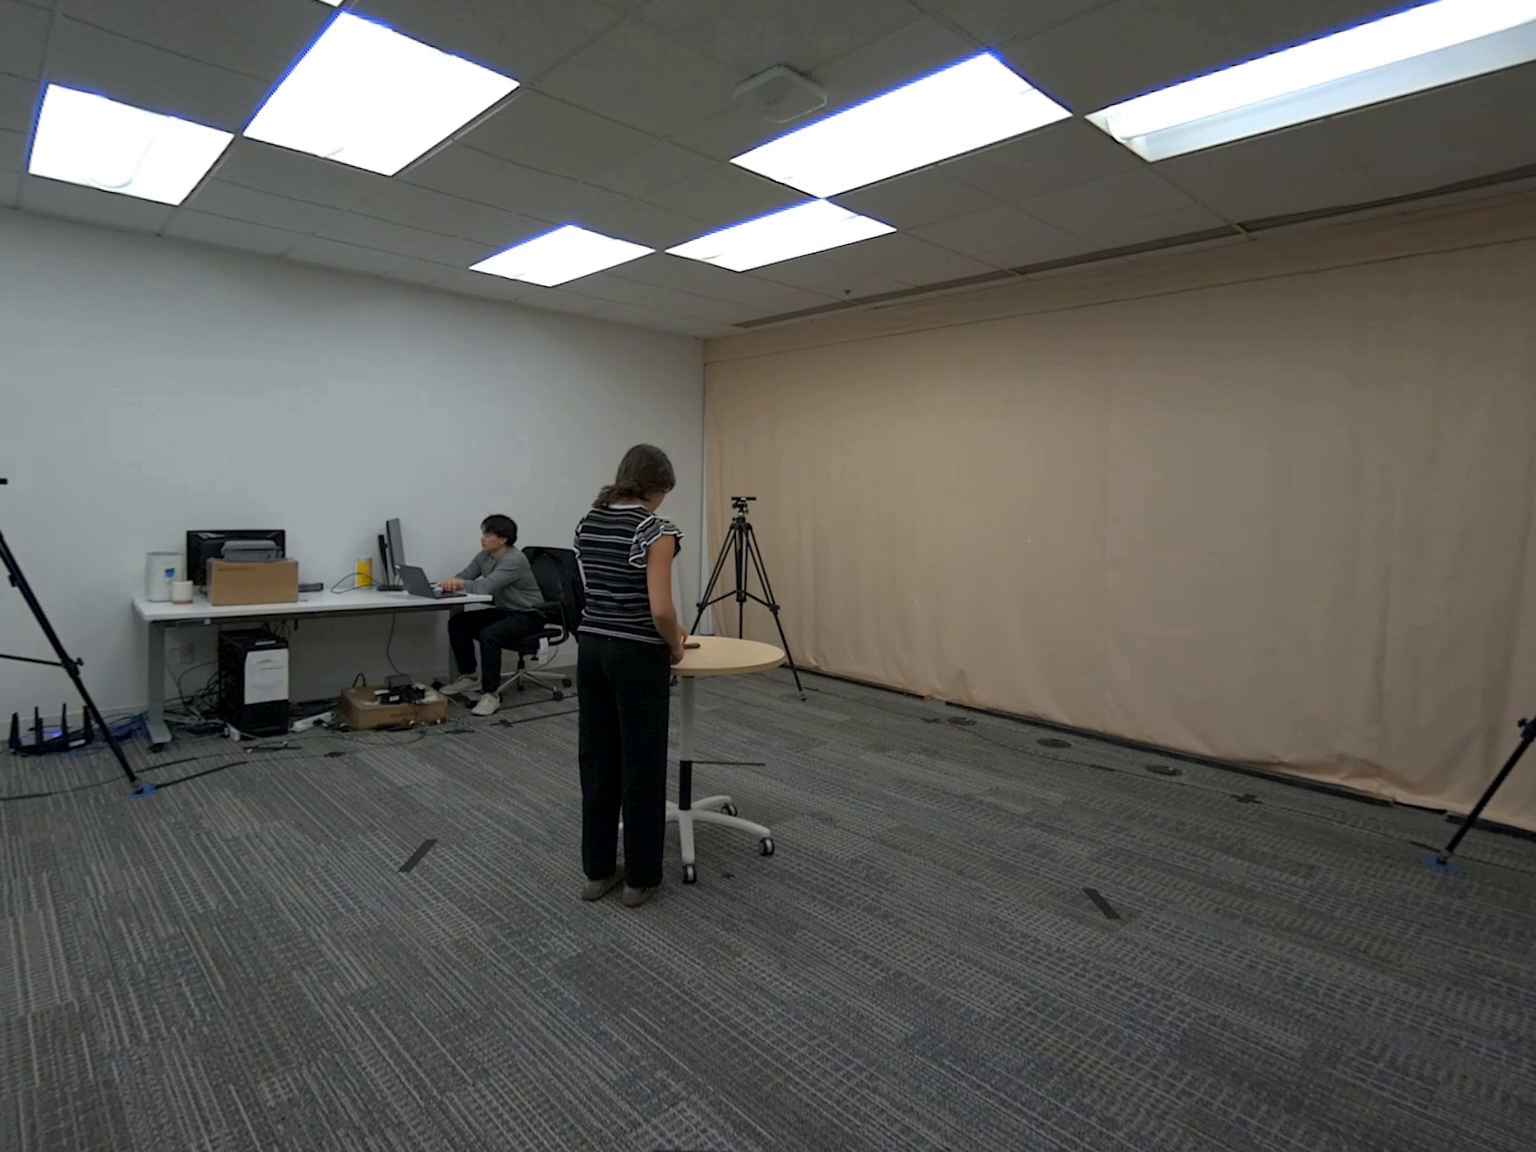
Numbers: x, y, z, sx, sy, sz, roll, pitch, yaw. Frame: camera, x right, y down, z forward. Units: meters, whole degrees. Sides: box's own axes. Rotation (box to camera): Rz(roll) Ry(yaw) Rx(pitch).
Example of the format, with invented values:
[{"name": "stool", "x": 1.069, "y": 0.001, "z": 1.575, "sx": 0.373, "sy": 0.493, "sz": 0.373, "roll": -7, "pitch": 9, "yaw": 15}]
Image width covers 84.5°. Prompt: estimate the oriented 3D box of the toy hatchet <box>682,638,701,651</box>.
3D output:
[{"name": "toy hatchet", "x": -0.353, "y": 0.287, "z": 3.304, "sx": 0.134, "sy": 0.029, "sz": 0.264, "roll": -2, "pitch": 0, "yaw": 42}]
